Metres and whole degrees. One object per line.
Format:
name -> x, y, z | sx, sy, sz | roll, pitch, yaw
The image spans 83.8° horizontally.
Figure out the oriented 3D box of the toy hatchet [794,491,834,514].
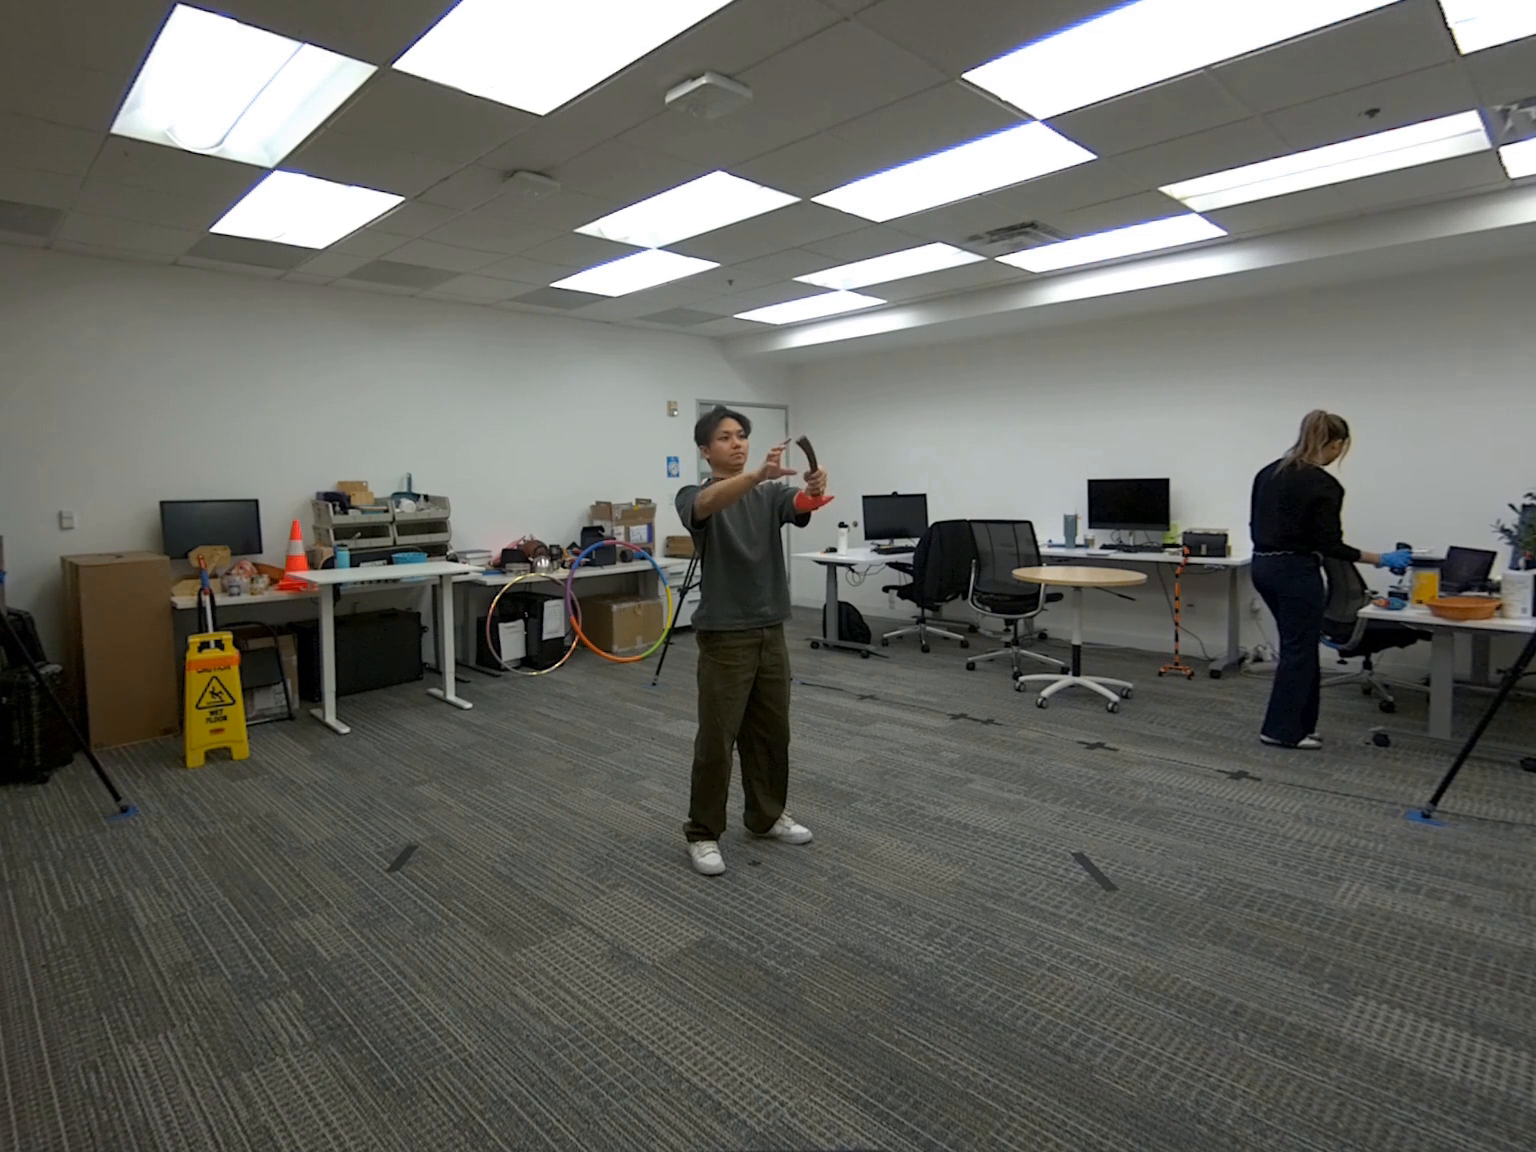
toy hatchet -> 0.101, -0.318, 2.726 | 0.131, 0.261, 0.030 | -30, 34, 0
